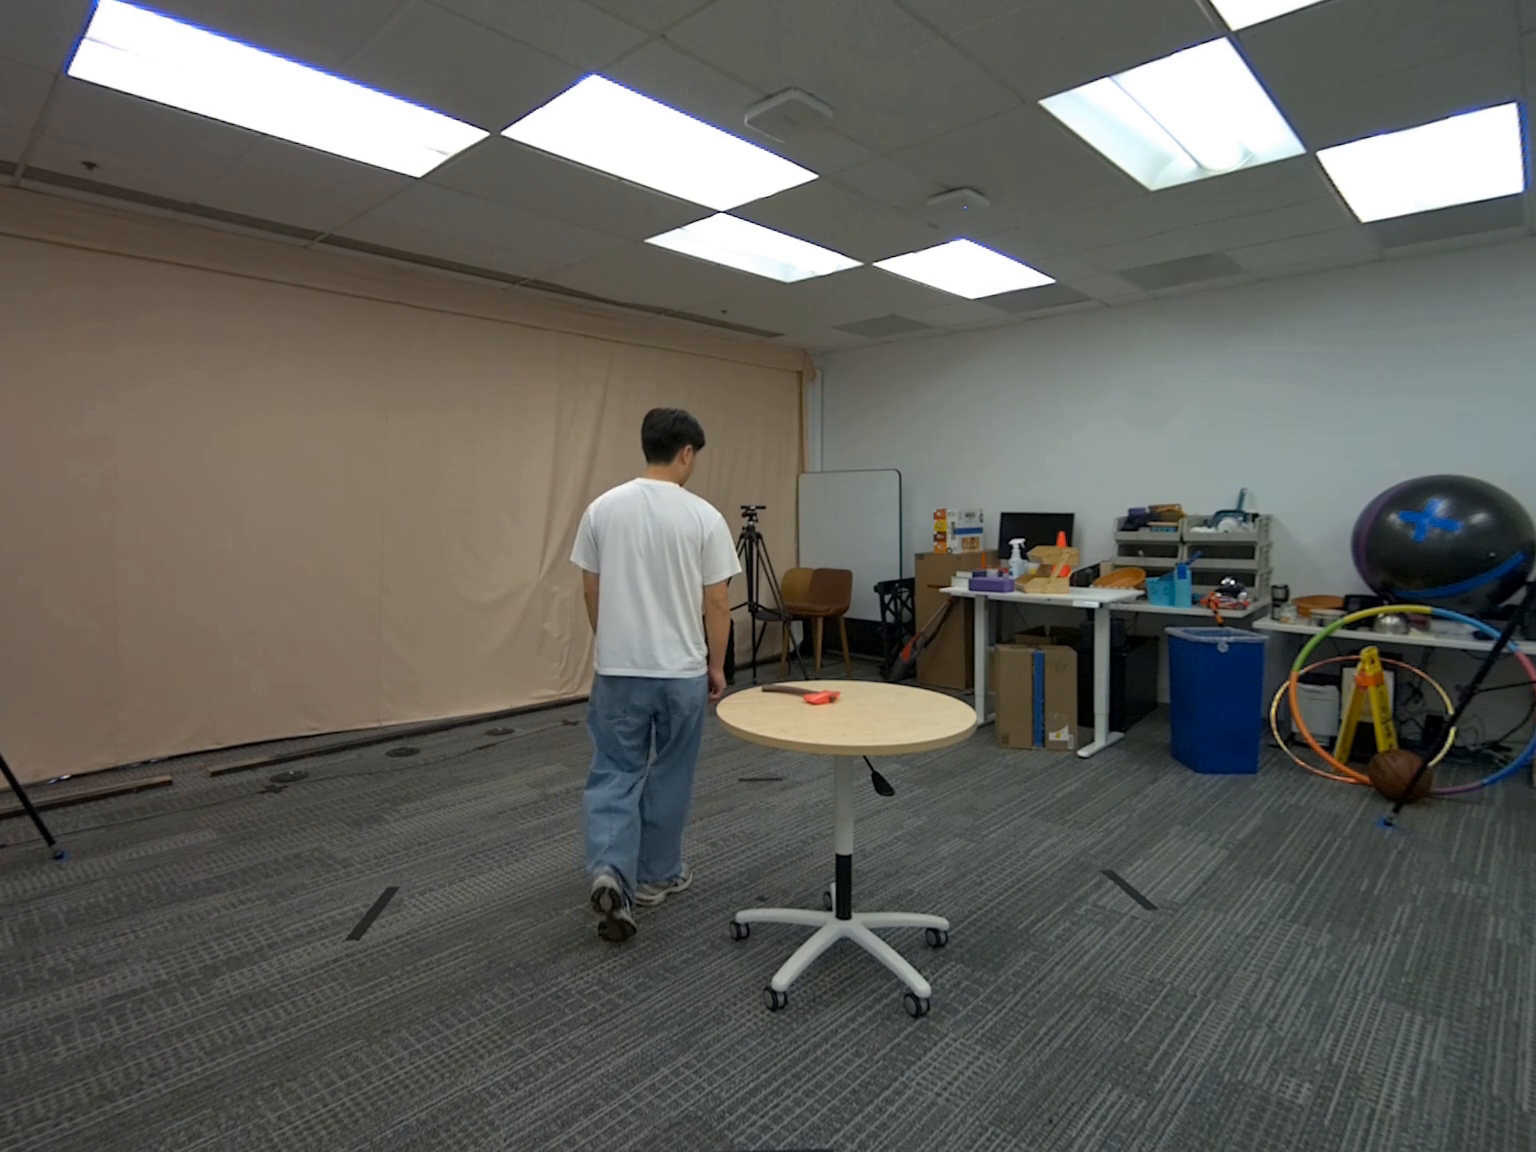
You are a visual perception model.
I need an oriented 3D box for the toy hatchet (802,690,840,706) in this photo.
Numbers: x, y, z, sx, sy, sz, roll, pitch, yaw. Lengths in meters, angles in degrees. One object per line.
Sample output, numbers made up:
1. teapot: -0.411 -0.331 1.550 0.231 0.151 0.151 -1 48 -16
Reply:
1. toy hatchet: 0.093 0.379 2.651 0.277 0.029 0.128 0 8 28
